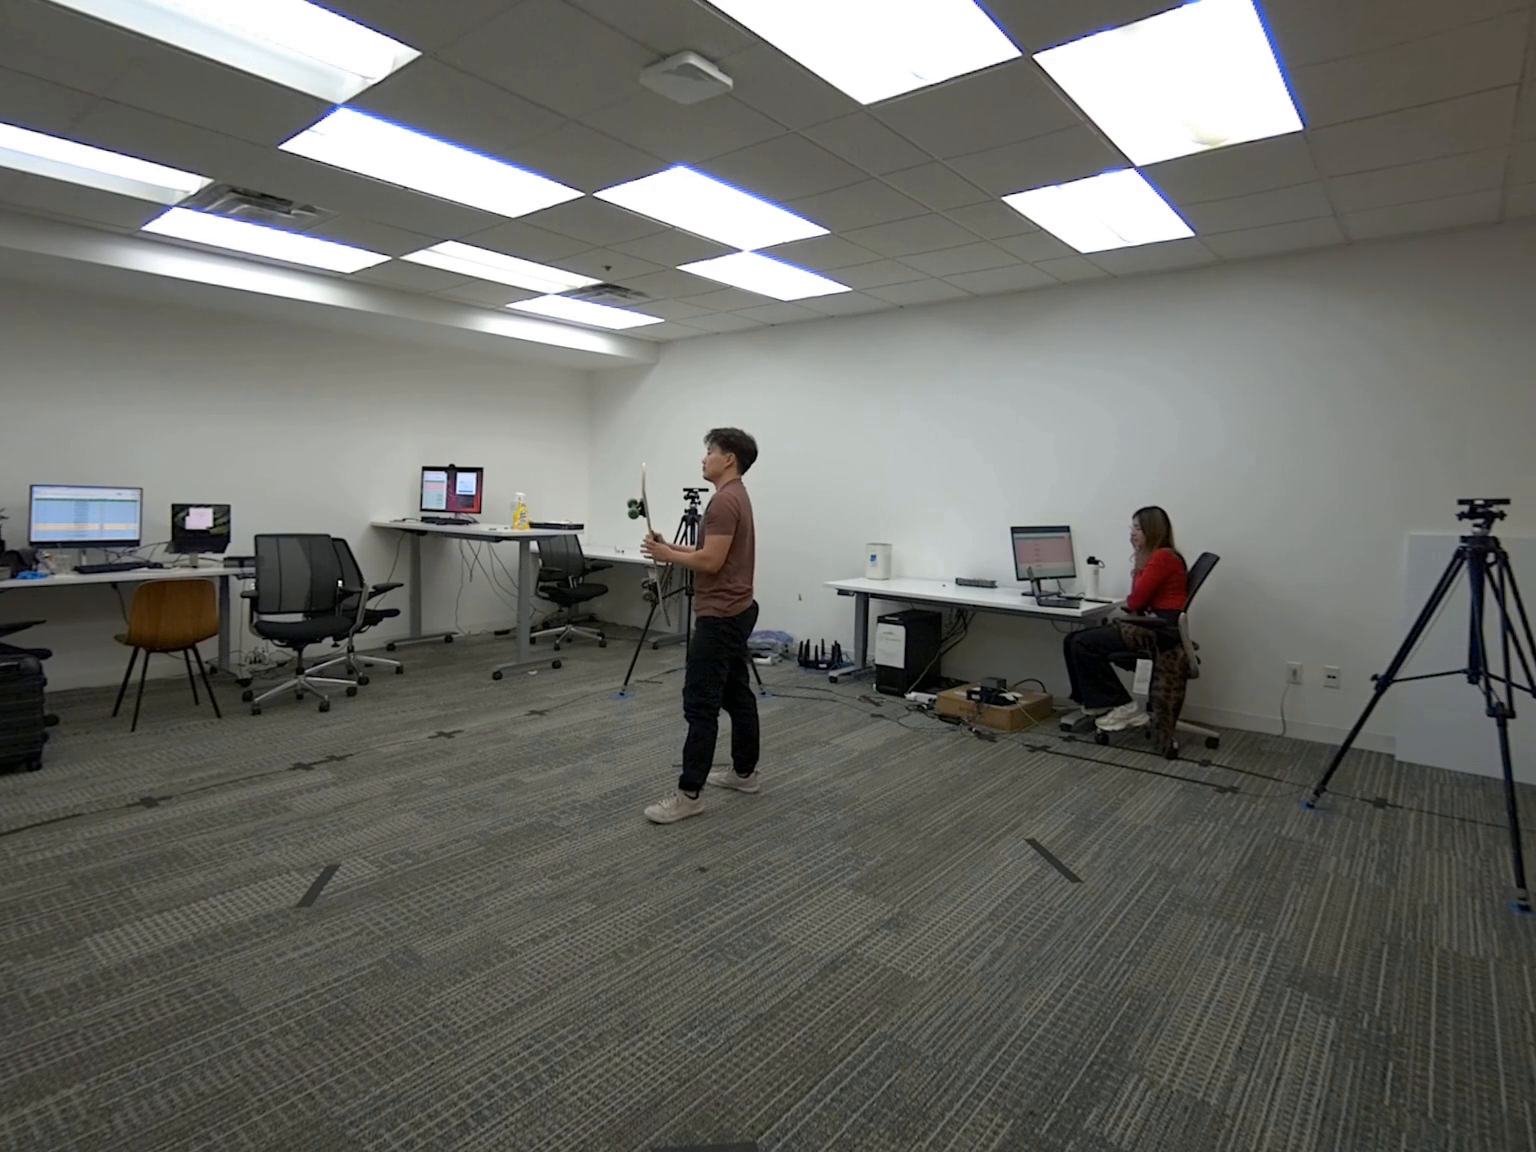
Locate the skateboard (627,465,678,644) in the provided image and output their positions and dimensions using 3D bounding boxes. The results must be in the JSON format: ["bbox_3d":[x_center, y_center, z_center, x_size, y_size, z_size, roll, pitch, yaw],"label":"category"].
[{"bbox_3d":[-0.574,-0.128,3.902,0.110,0.770,0.198,-9,19,-7],"label":"skateboard"}]
